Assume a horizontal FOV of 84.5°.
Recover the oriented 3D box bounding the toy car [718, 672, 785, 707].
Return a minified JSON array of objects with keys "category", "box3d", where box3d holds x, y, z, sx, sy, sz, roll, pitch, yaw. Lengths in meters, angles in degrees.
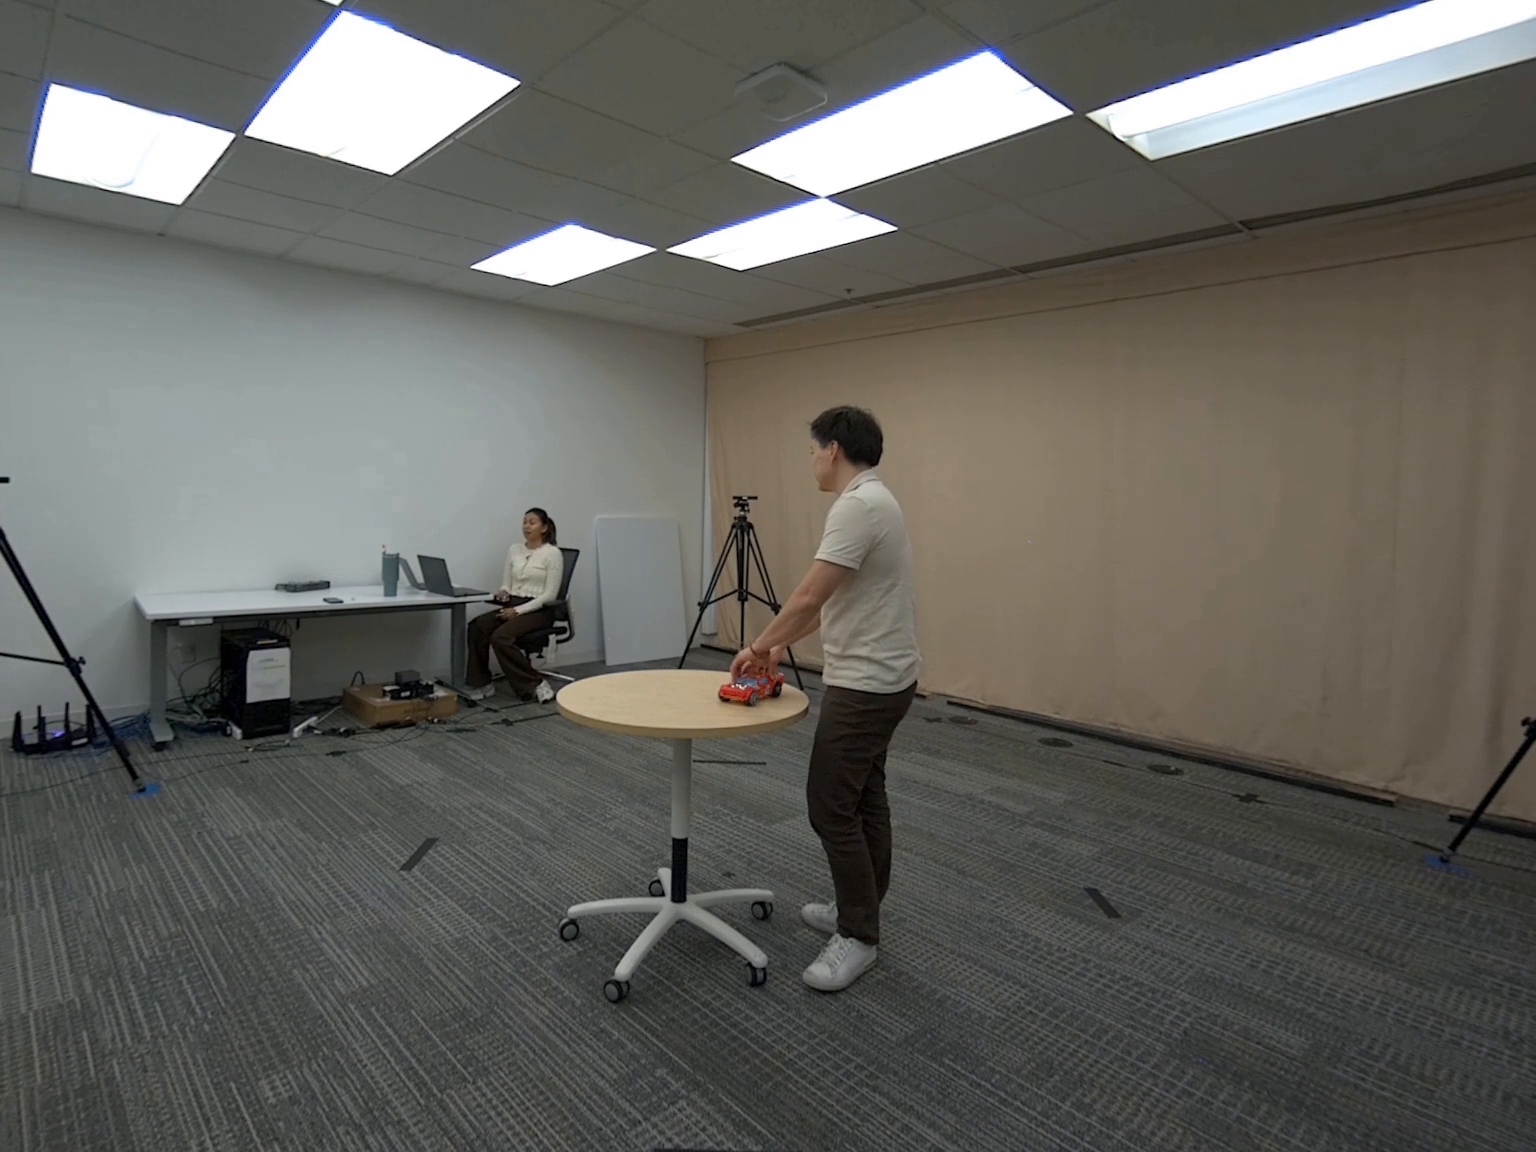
[{"category":"toy car","box3d":[-0.043,0.341,2.566,0.133,0.082,0.251,3,16,31]}]
